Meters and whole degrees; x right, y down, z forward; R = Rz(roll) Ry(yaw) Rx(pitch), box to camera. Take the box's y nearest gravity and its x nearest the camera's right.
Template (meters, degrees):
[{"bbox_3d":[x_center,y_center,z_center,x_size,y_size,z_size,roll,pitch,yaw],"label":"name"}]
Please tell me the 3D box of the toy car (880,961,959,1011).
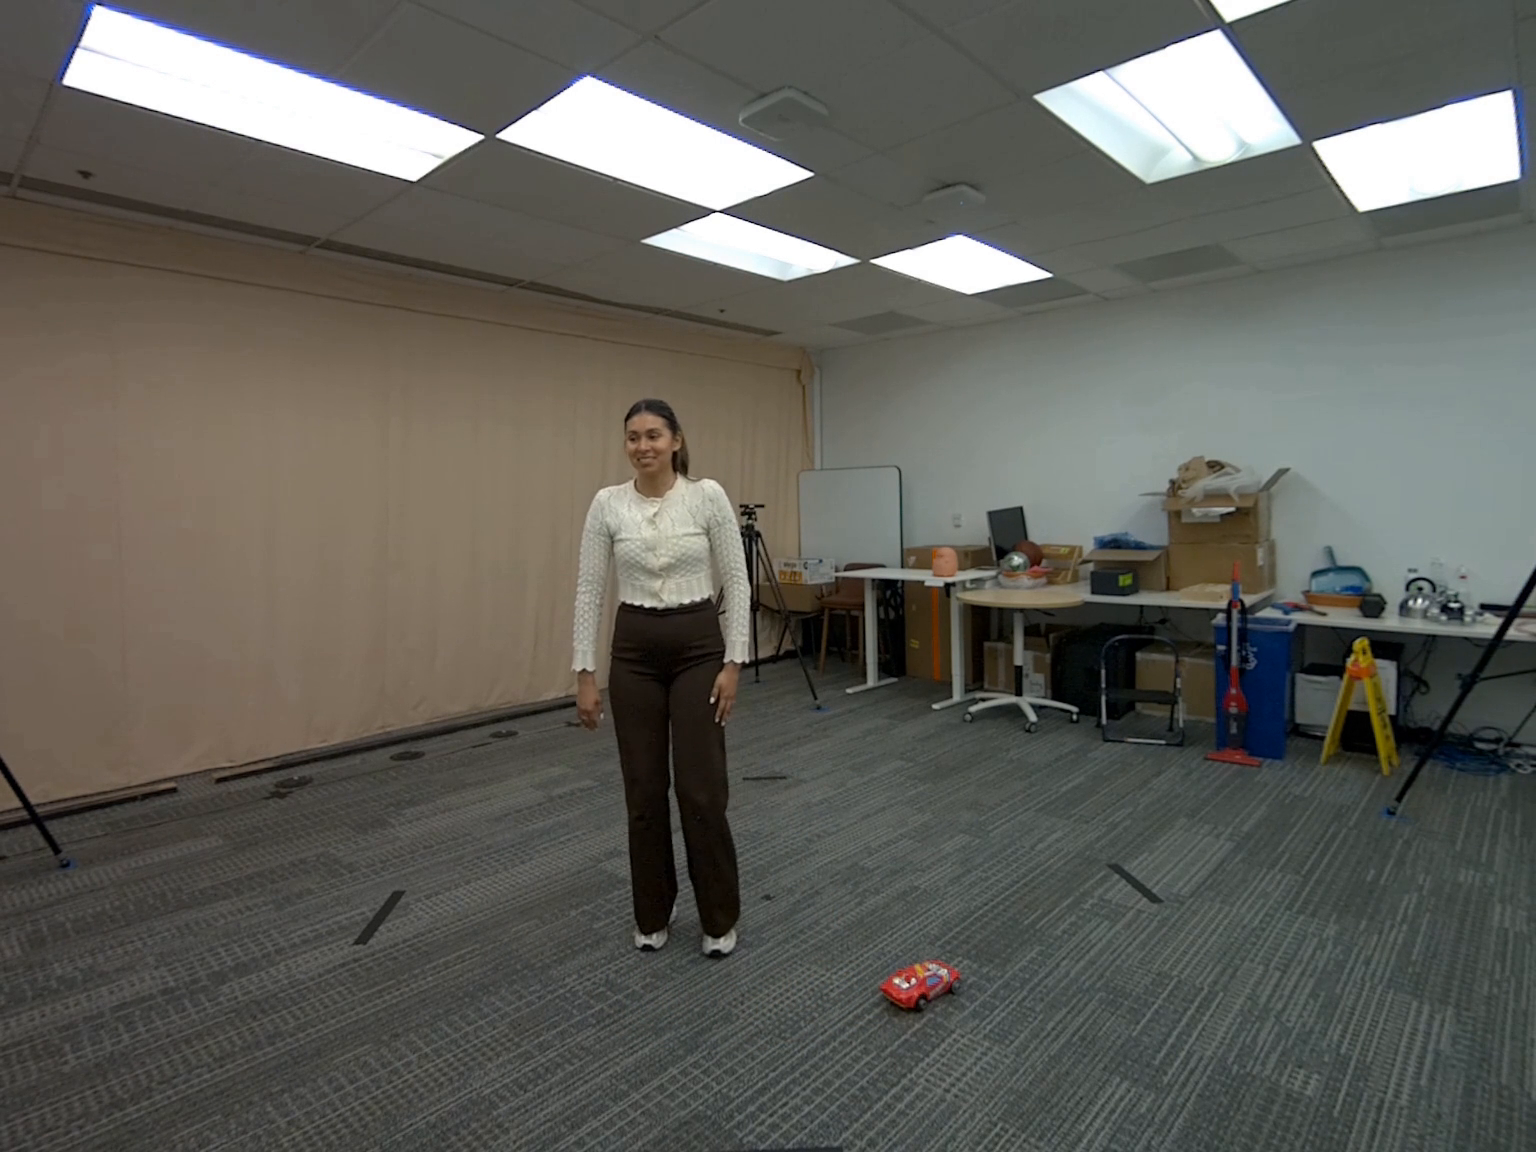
[{"bbox_3d":[0.431,1.152,2.369,0.246,0.083,0.134,10,-2,-35],"label":"toy car"}]
